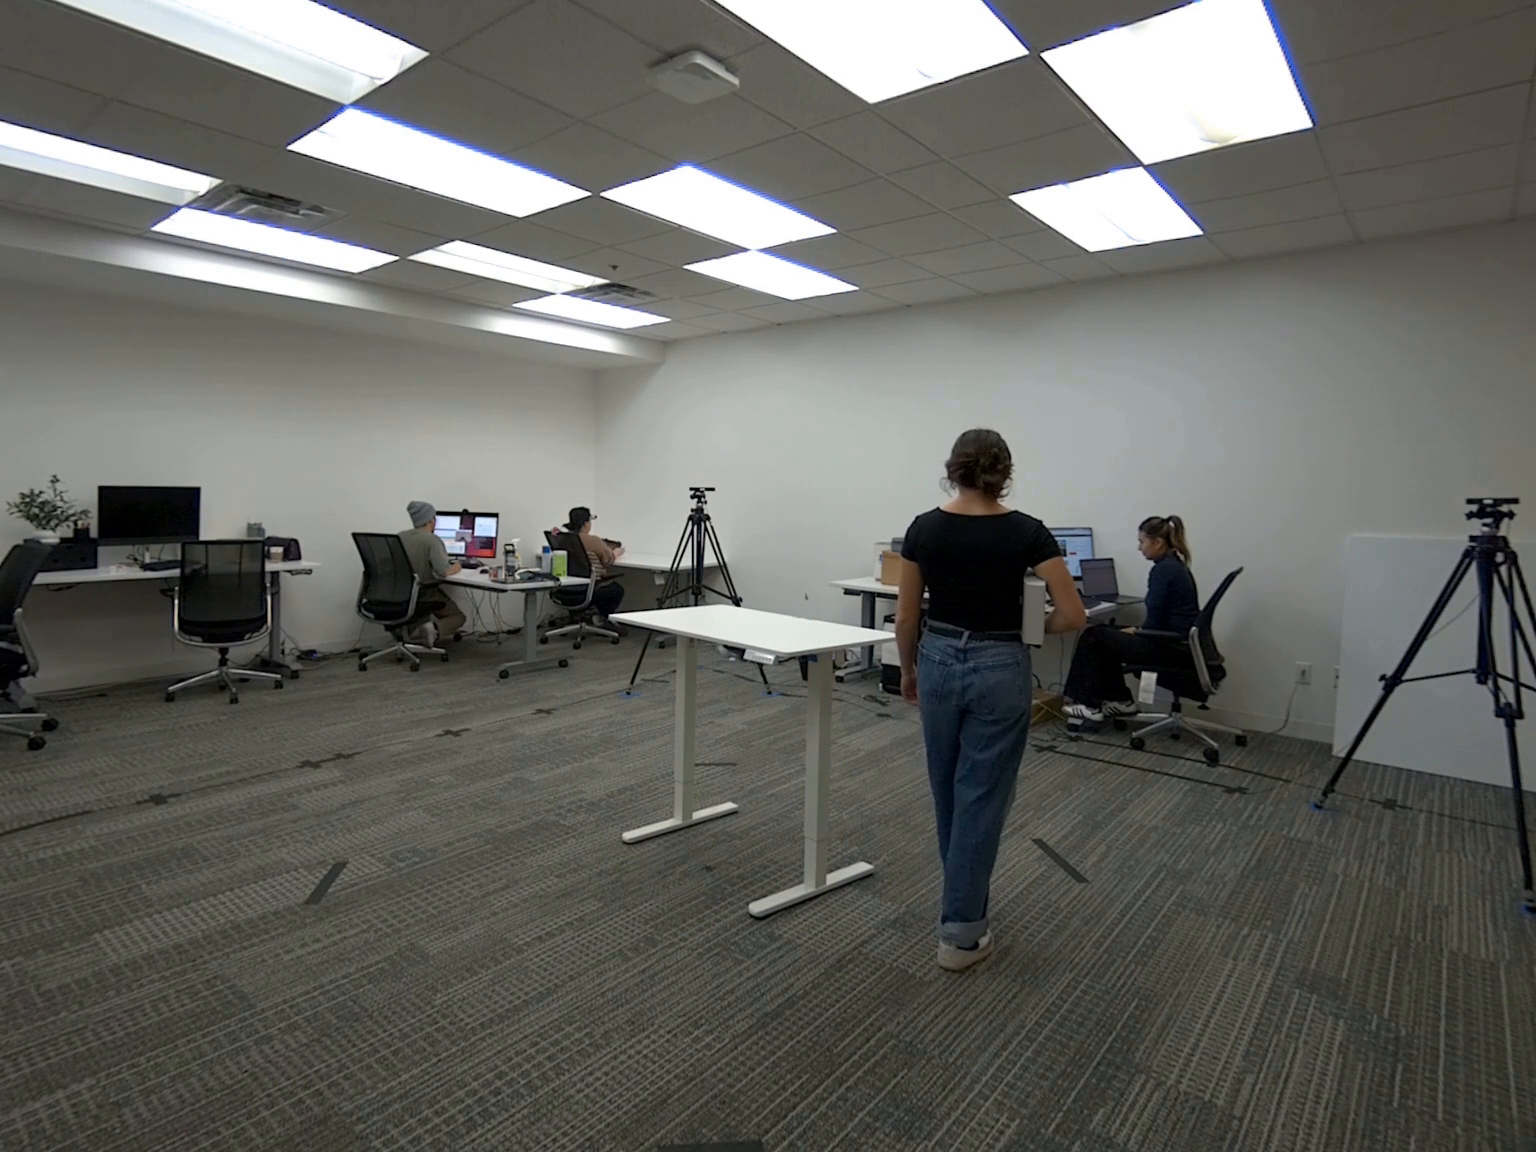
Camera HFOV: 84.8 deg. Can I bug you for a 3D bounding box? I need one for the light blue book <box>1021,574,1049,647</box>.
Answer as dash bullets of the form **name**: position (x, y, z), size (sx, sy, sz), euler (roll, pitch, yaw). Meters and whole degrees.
- **light blue book**: position (0.774, 0.057, 2.528), size (0.060, 0.188, 0.262), euler (0, 21, 11)
